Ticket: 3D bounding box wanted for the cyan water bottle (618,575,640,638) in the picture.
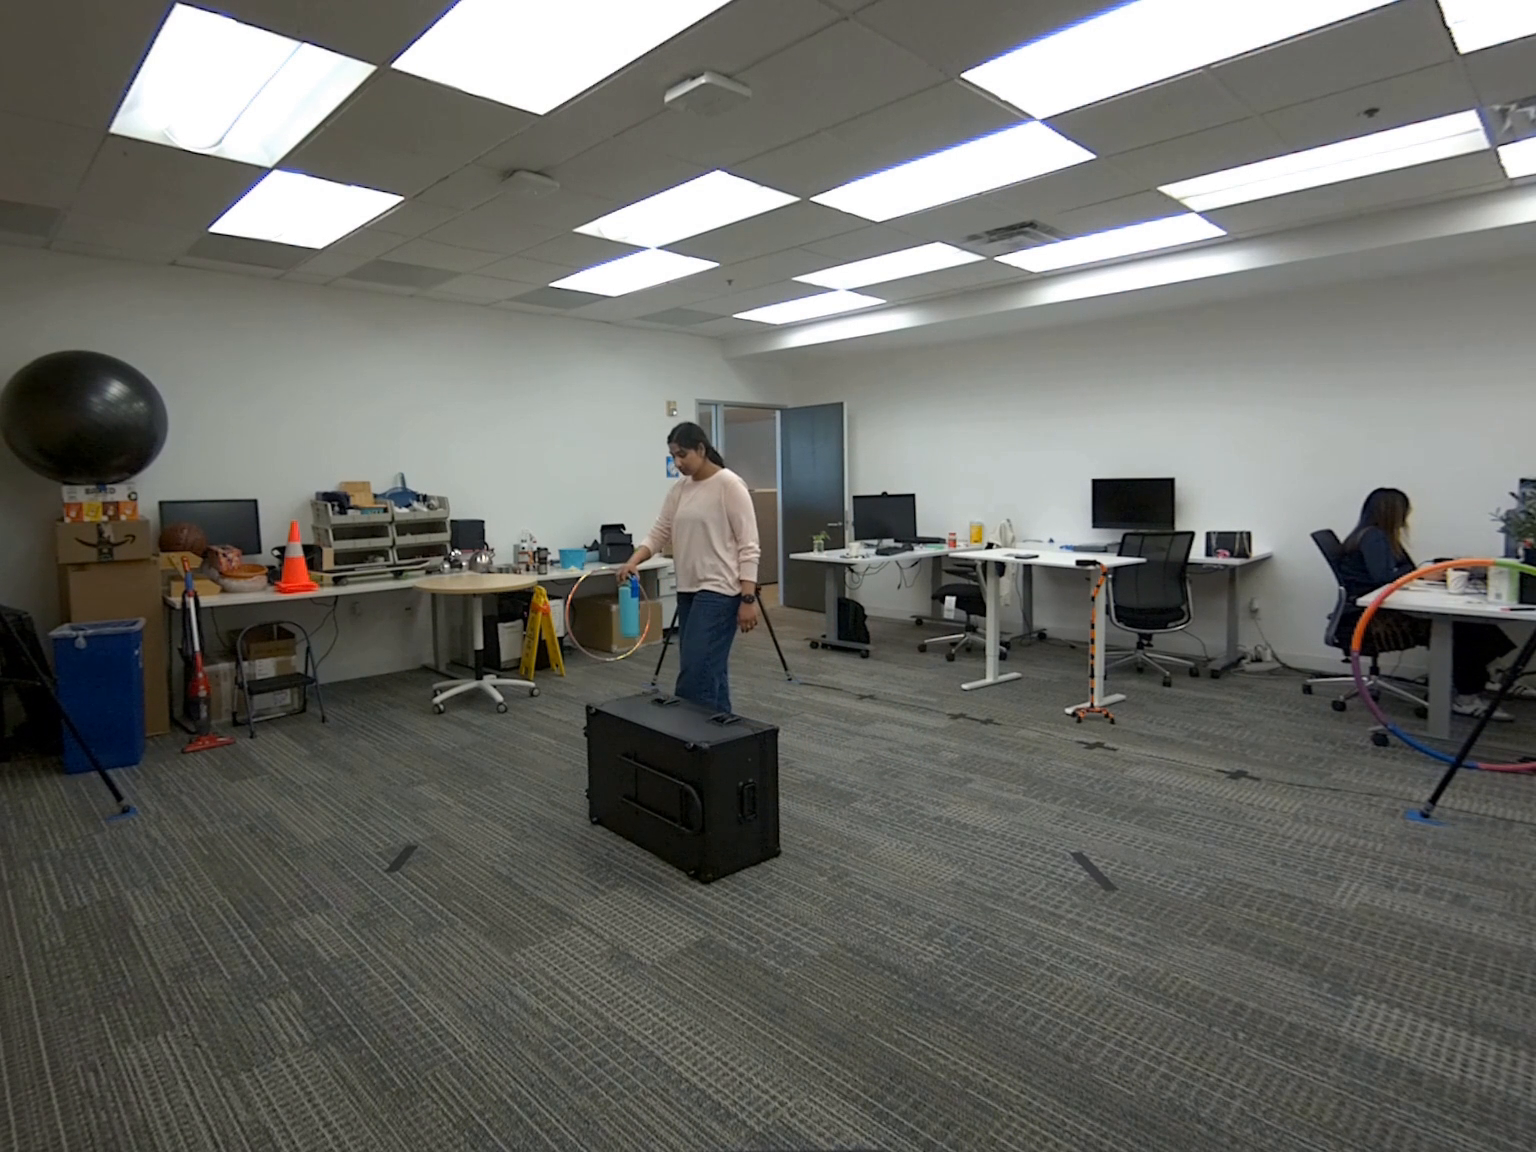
[{"bbox_3d":[-0.638,0.131,3.910,0.092,0.283,0.092,0,1,-2],"label":"cyan water bottle"}]
